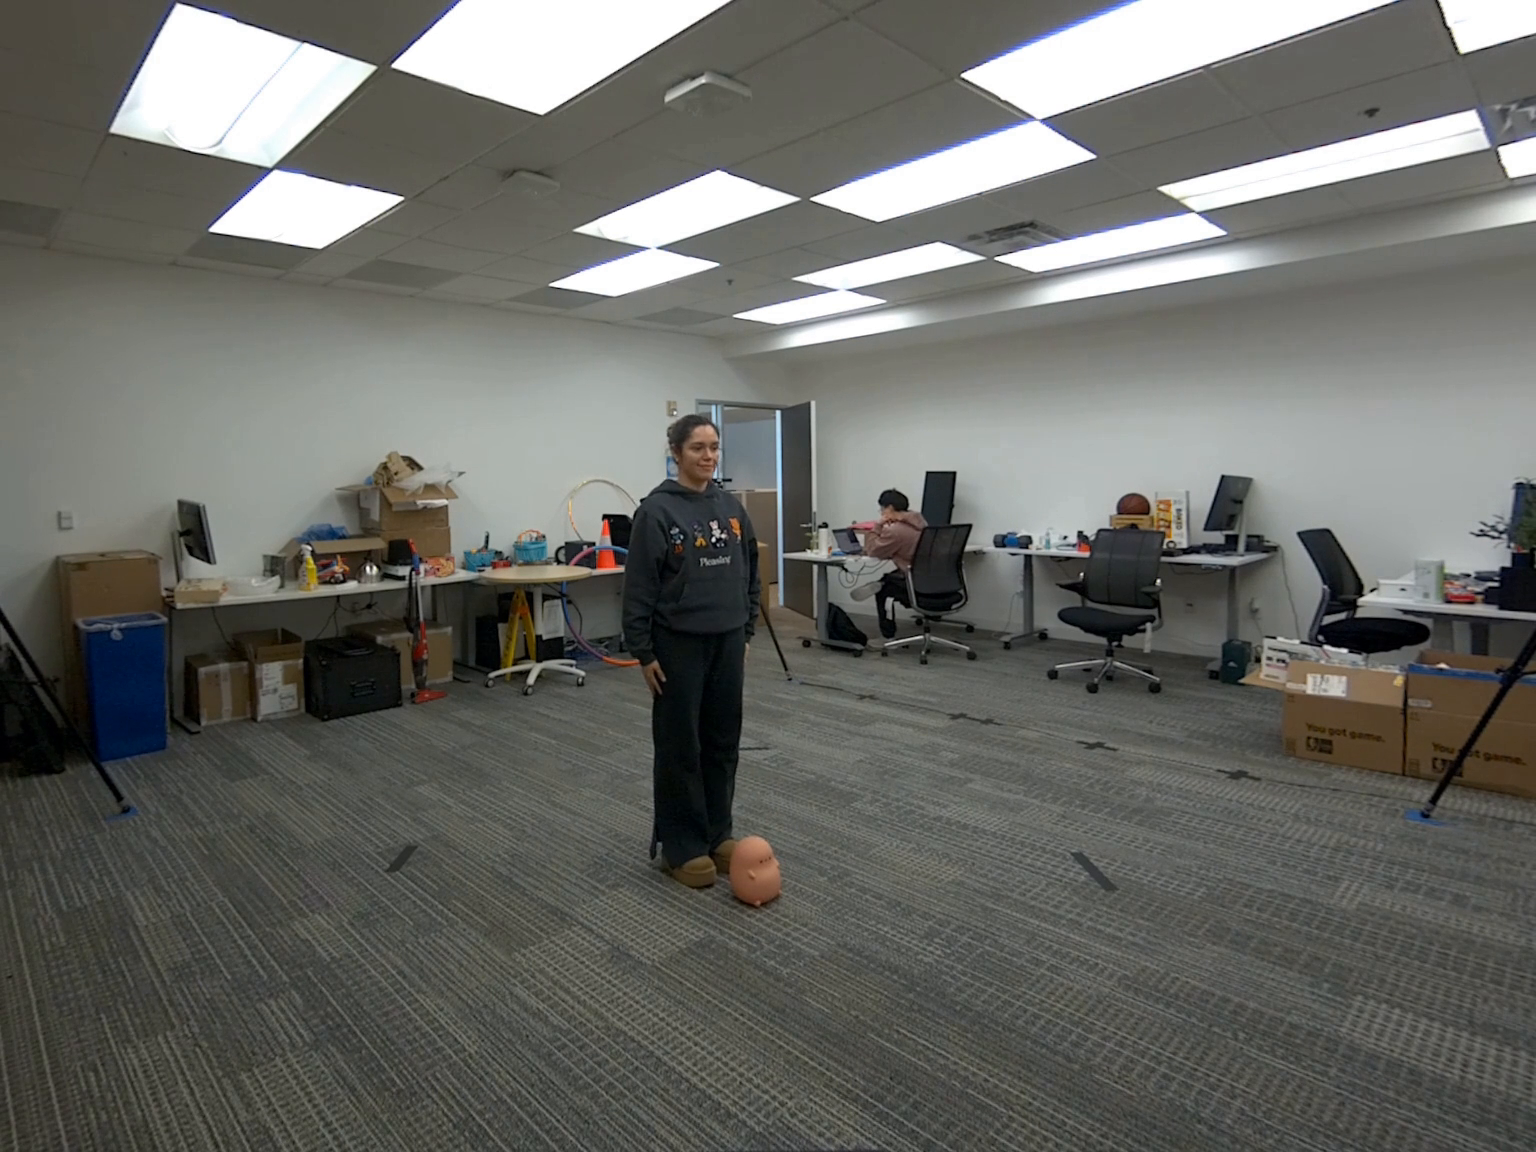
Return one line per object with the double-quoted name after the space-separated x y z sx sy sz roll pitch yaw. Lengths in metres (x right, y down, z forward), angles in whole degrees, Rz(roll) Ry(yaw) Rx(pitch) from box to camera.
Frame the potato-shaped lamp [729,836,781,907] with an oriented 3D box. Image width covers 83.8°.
-0.042 0.988 2.846 0.176 0.197 0.160 5 5 38 "potato-shaped lamp"
